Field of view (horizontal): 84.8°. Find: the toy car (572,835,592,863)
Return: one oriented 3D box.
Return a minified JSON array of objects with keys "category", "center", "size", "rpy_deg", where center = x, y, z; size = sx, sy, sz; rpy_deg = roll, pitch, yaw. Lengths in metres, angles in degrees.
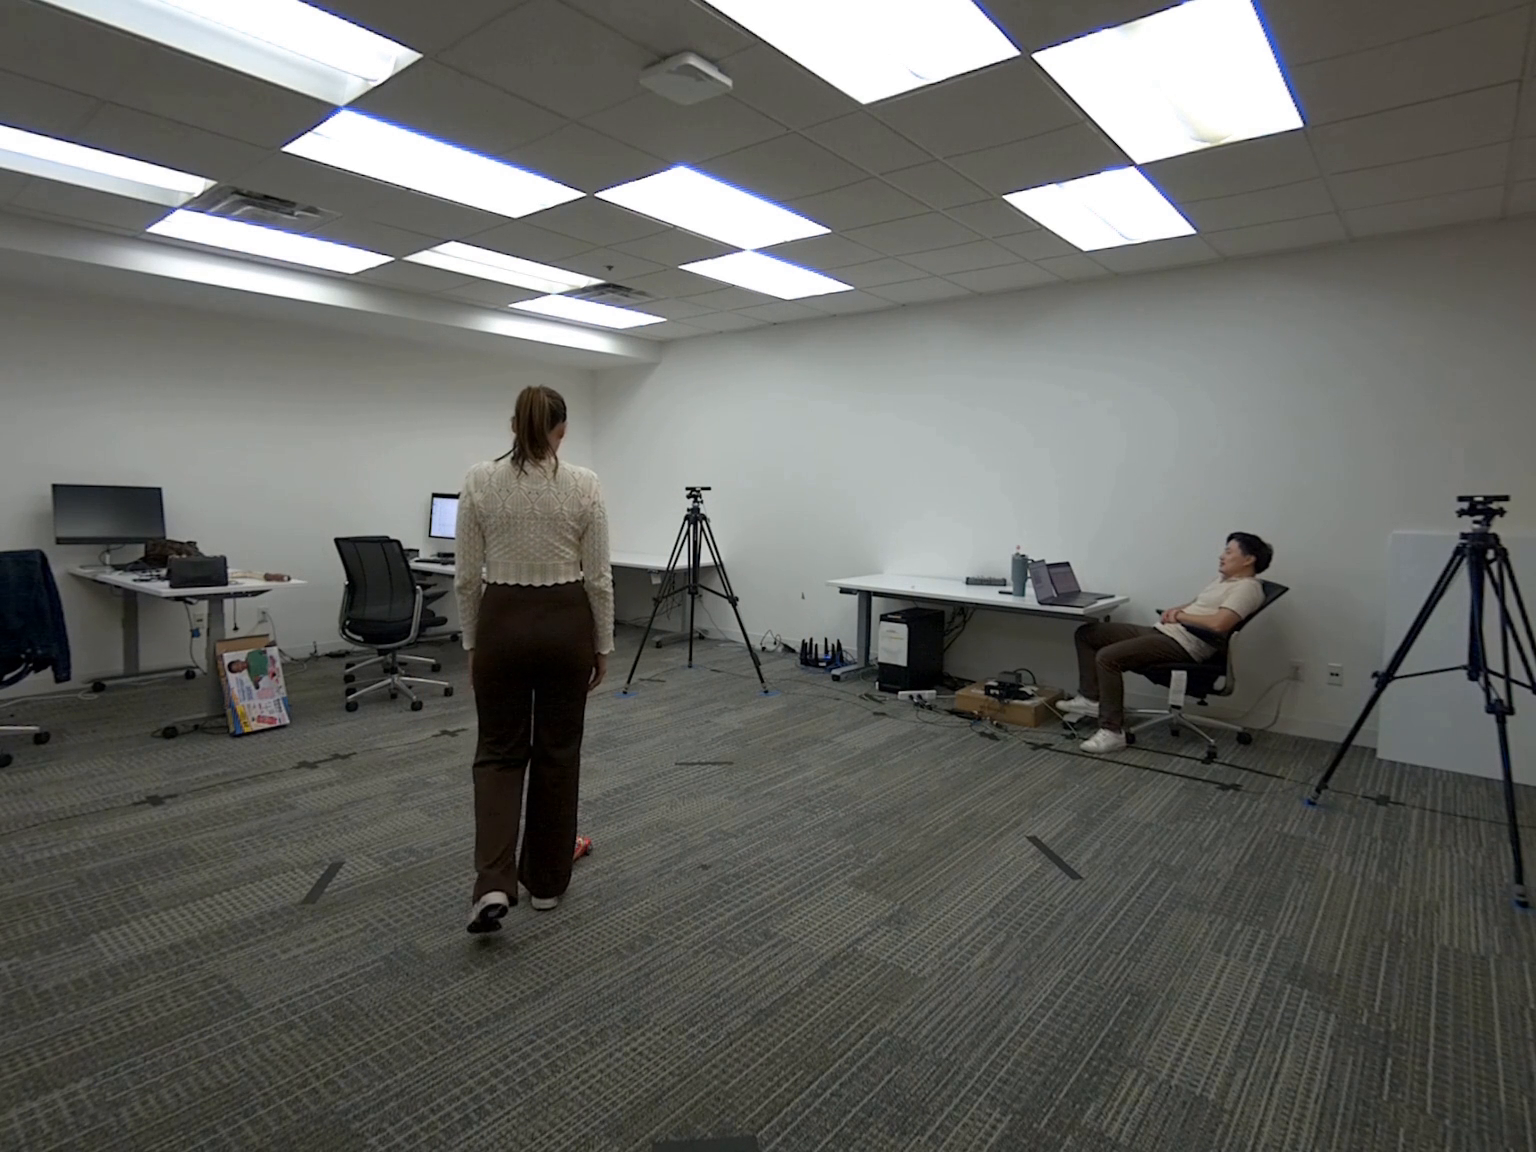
[{"category":"toy car","center":[-0.763,1.020,3.140],"size":[0.133,0.084,0.247],"rpy_deg":[2,-5,21]}]
